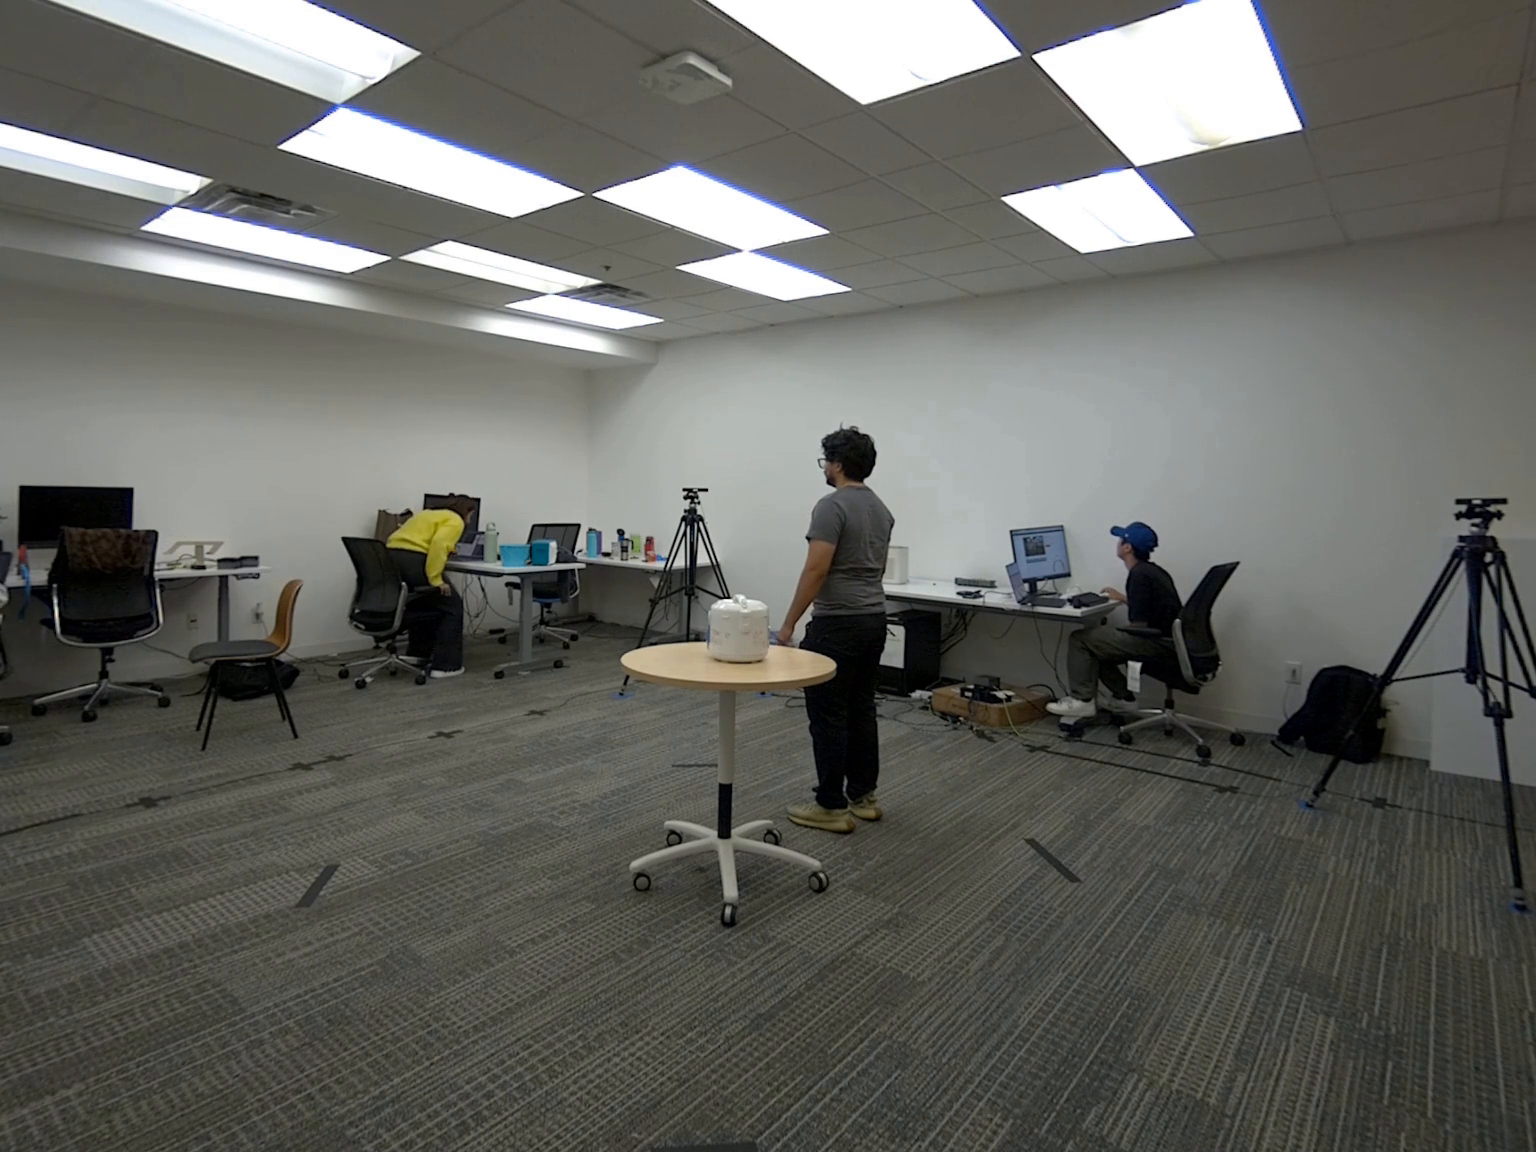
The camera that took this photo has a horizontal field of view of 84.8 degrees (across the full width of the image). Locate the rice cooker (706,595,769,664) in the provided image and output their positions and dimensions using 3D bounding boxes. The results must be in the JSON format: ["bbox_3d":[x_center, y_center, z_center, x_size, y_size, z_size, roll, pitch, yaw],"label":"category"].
[{"bbox_3d":[-0.112,0.180,3.056,0.215,0.232,0.224,0,4,-12],"label":"rice cooker"}]
